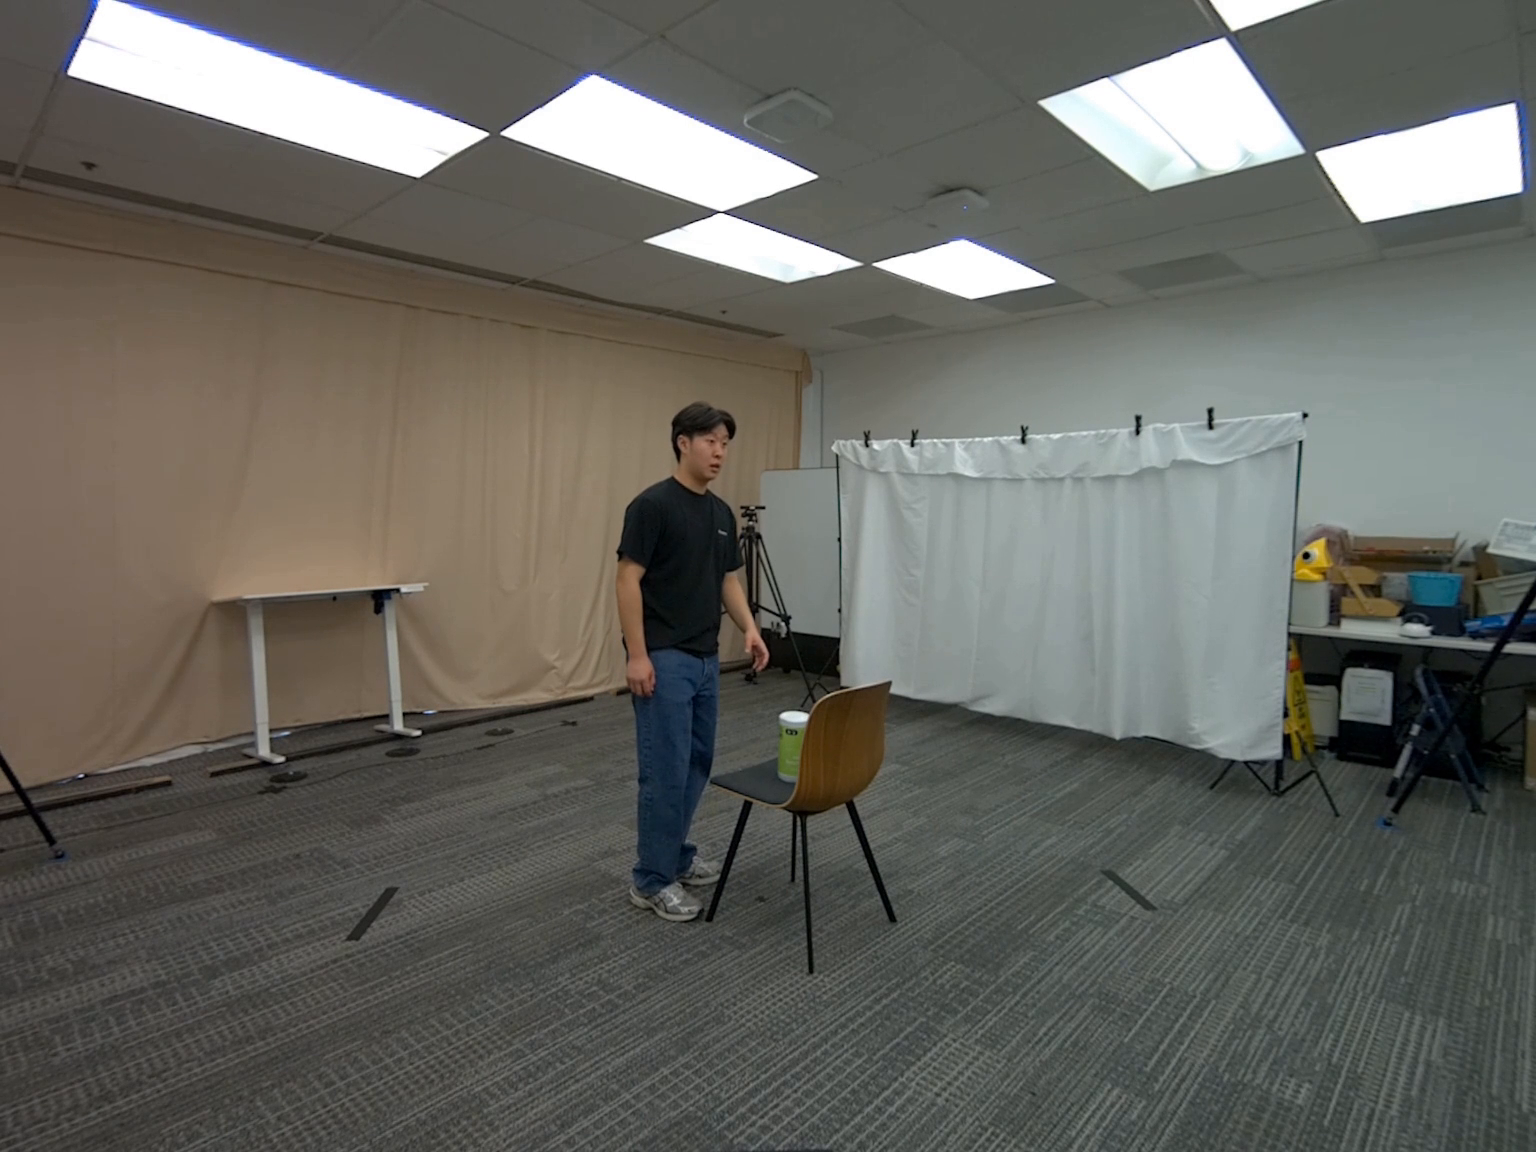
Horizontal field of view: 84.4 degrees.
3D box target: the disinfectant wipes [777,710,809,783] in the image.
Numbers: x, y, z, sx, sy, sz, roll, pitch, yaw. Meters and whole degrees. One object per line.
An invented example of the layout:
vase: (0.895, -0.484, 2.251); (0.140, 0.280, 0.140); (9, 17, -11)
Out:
disinfectant wipes: (0.089, 0.573, 2.827); (0.117, 0.216, 0.118); (1, 6, -2)
